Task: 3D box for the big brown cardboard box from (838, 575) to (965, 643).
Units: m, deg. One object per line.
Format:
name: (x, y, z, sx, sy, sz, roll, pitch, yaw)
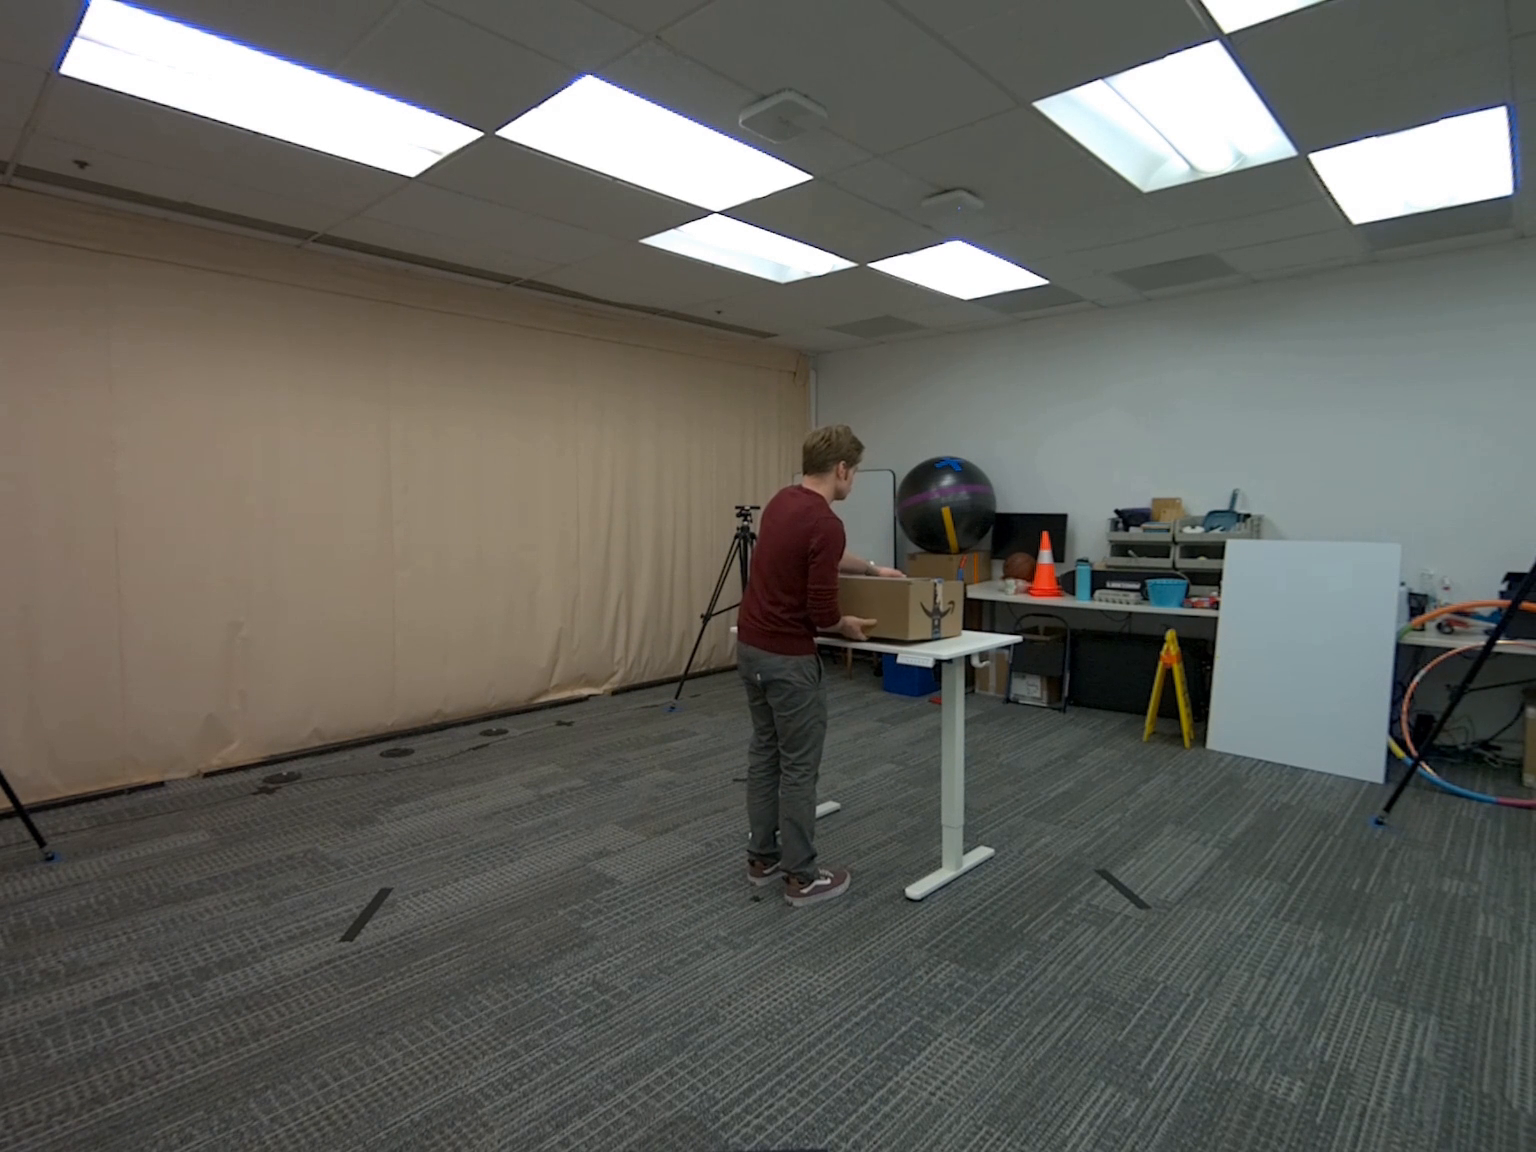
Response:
big brown cardboard box: (0.408, 0.110, 3.325, 0.608, 0.233, 0.404, 4, 2, 40)
